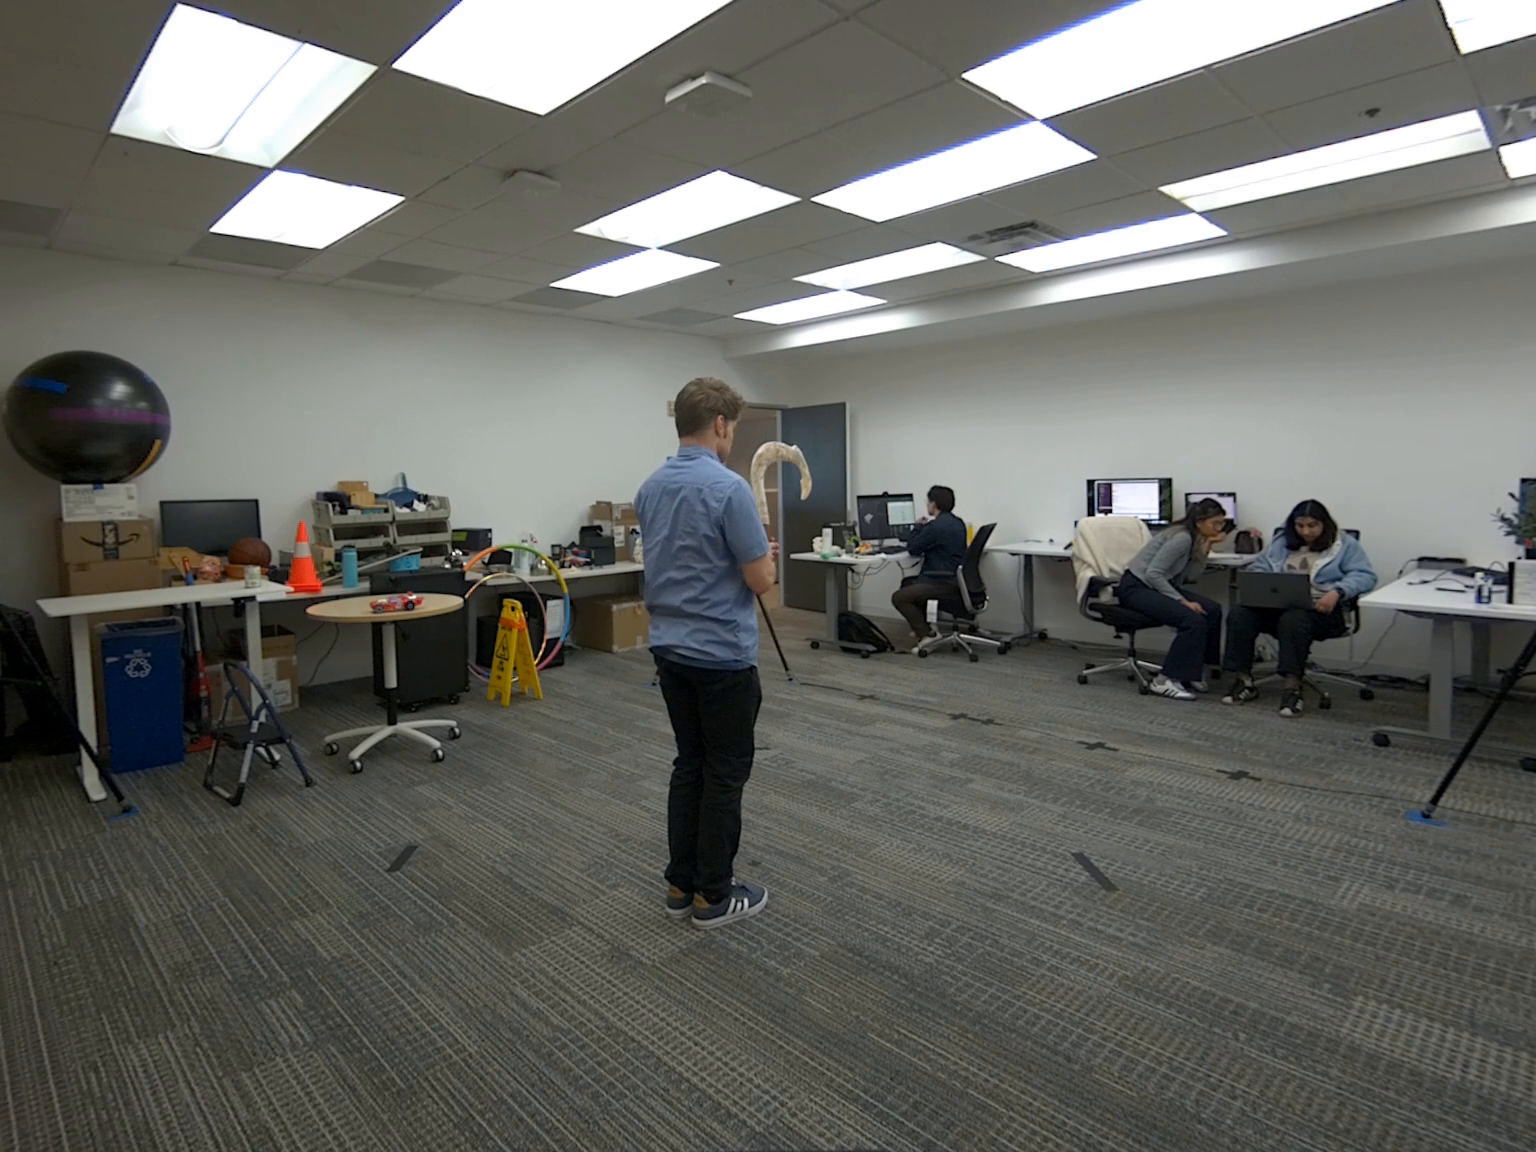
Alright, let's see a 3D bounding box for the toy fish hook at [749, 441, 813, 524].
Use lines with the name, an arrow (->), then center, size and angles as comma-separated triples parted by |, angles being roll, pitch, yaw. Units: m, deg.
toy fish hook -> 0.042, -0.221, 2.982 | 0.222, 0.511, 0.048 | 9, -13, -12
